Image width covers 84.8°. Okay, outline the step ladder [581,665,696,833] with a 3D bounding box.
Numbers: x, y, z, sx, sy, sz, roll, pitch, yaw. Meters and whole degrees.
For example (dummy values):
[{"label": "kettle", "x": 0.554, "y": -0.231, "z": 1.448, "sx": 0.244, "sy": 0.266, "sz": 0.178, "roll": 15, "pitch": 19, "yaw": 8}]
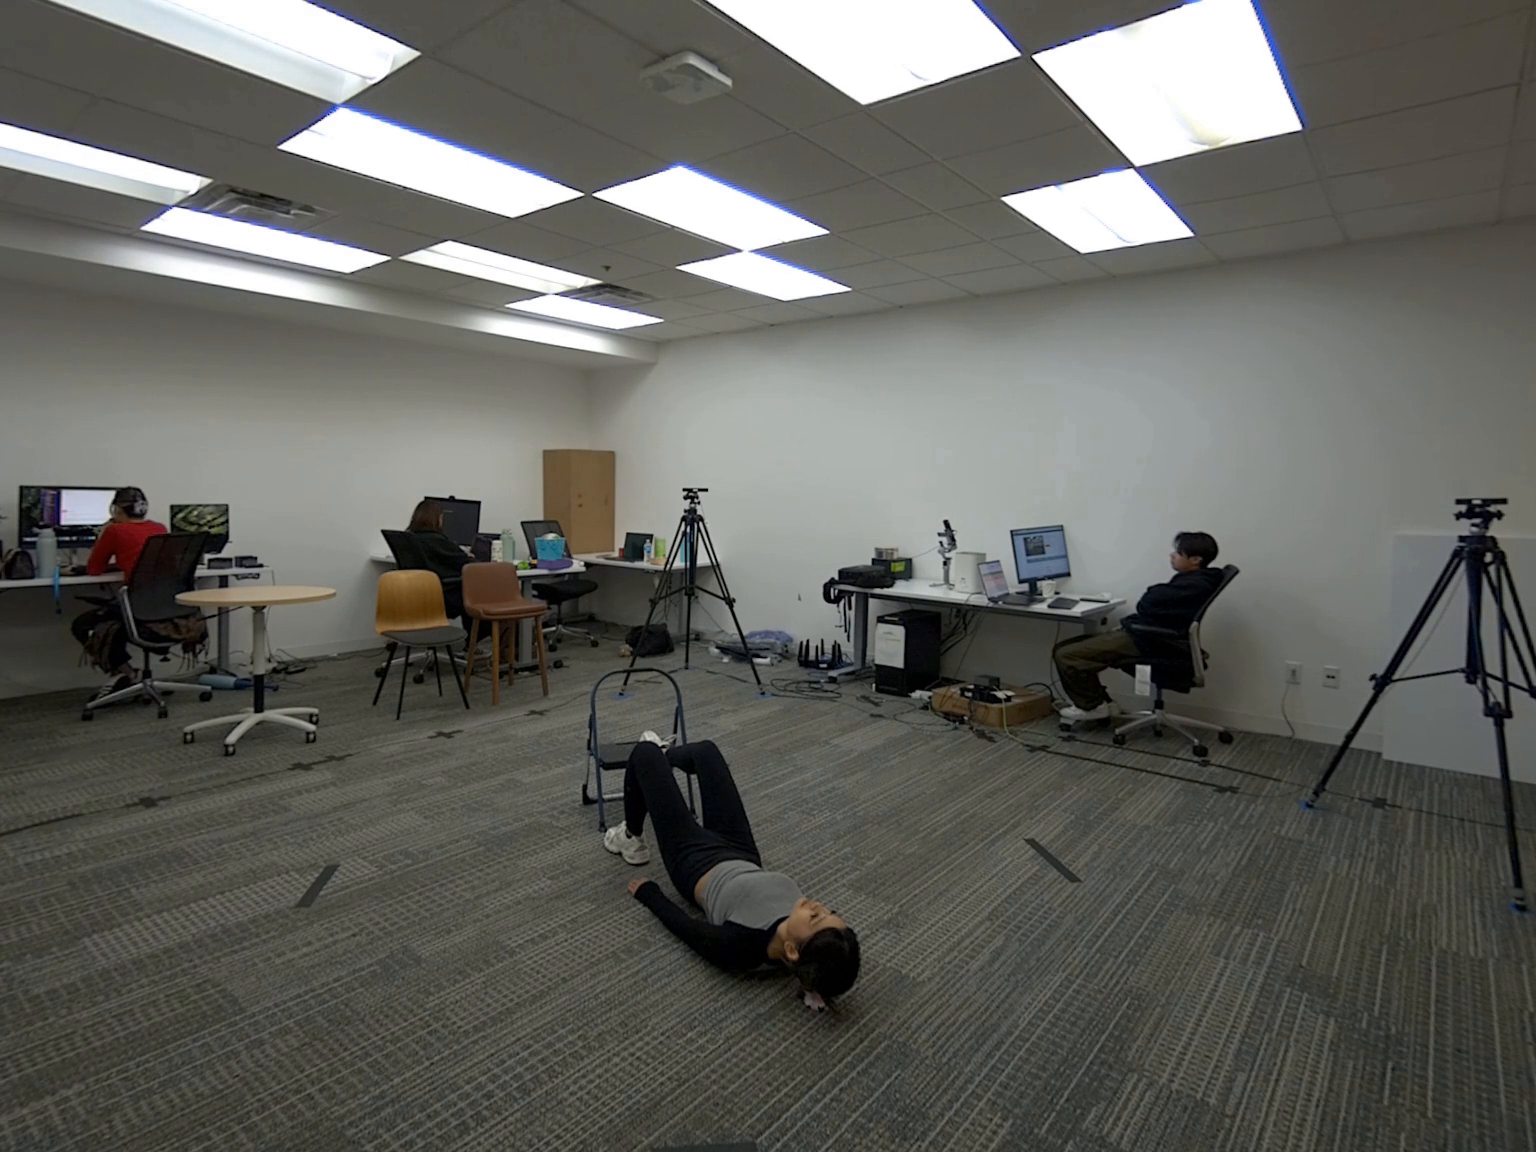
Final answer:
[{"label": "step ladder", "x": -0.571, "y": 0.709, "z": 3.654, "sx": 0.420, "sy": 0.604, "sz": 0.359, "roll": -1, "pitch": 4, "yaw": -25}]
